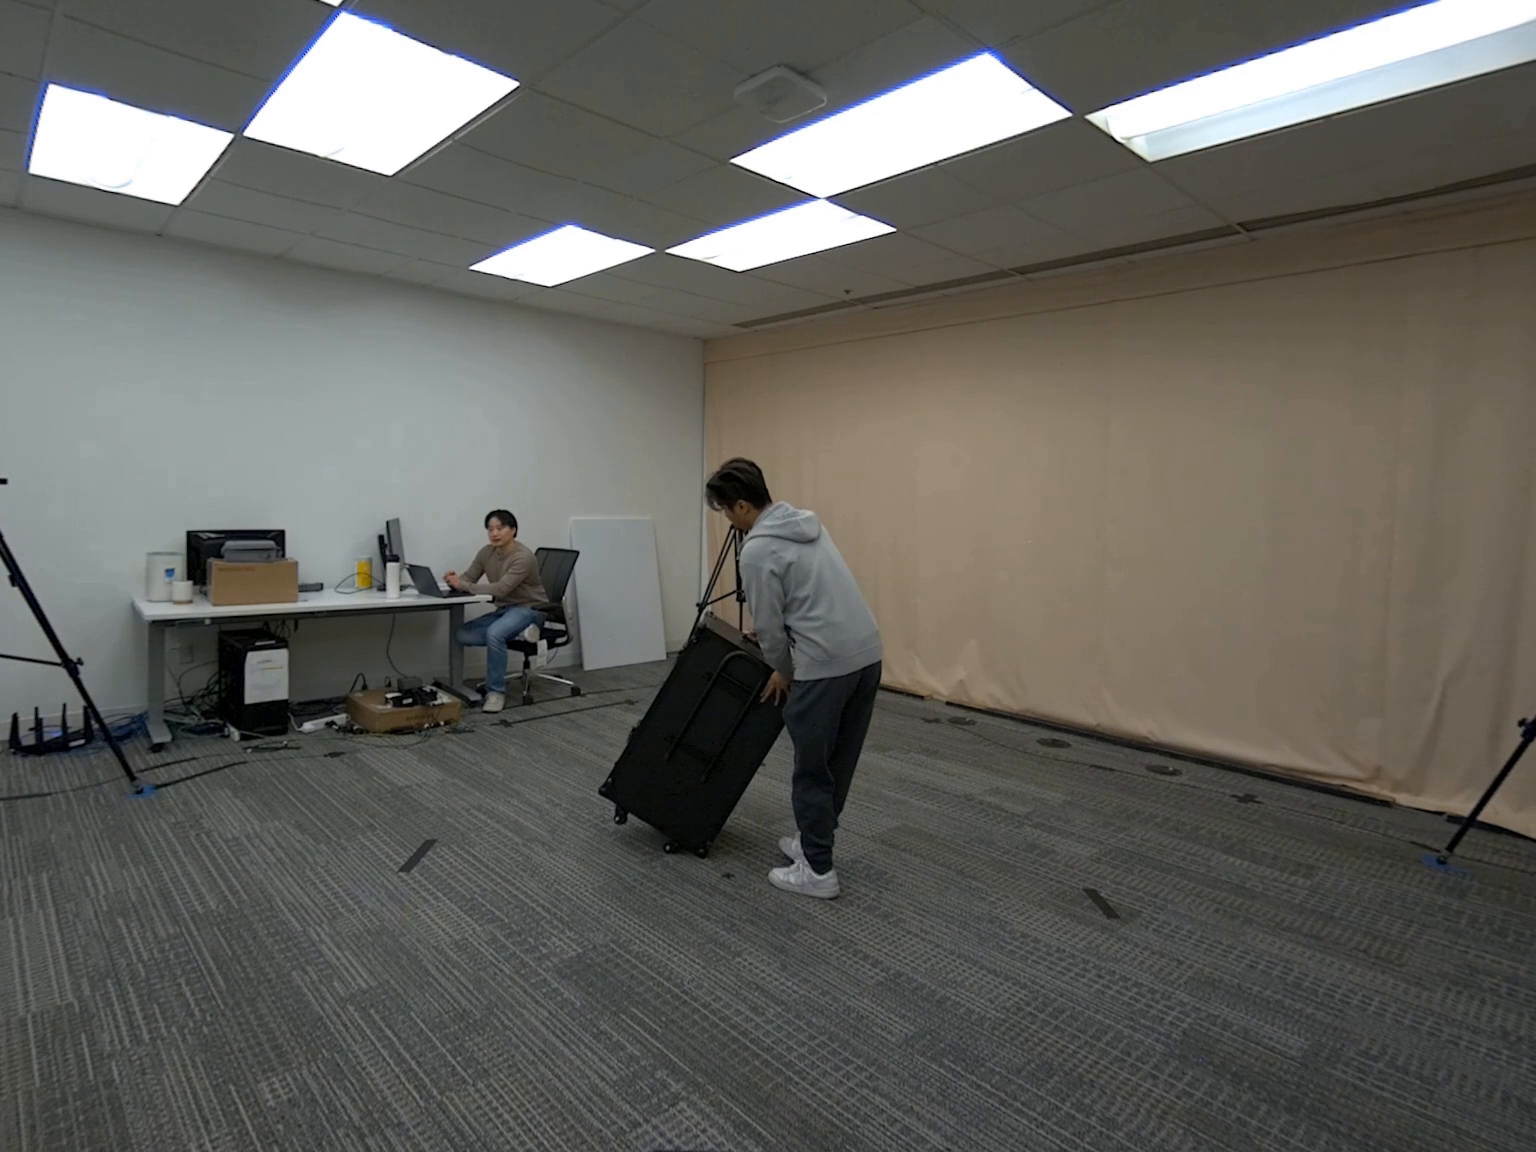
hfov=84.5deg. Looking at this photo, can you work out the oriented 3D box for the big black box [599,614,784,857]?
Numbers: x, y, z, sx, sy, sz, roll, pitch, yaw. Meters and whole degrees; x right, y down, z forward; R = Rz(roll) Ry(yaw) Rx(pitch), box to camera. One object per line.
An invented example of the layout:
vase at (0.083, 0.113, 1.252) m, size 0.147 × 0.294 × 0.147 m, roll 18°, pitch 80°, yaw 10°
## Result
big black box at (-0.269, 0.653, 3.396) m, size 0.522 × 0.860 × 0.396 m, roll 32°, pitch 5°, yaw 1°
